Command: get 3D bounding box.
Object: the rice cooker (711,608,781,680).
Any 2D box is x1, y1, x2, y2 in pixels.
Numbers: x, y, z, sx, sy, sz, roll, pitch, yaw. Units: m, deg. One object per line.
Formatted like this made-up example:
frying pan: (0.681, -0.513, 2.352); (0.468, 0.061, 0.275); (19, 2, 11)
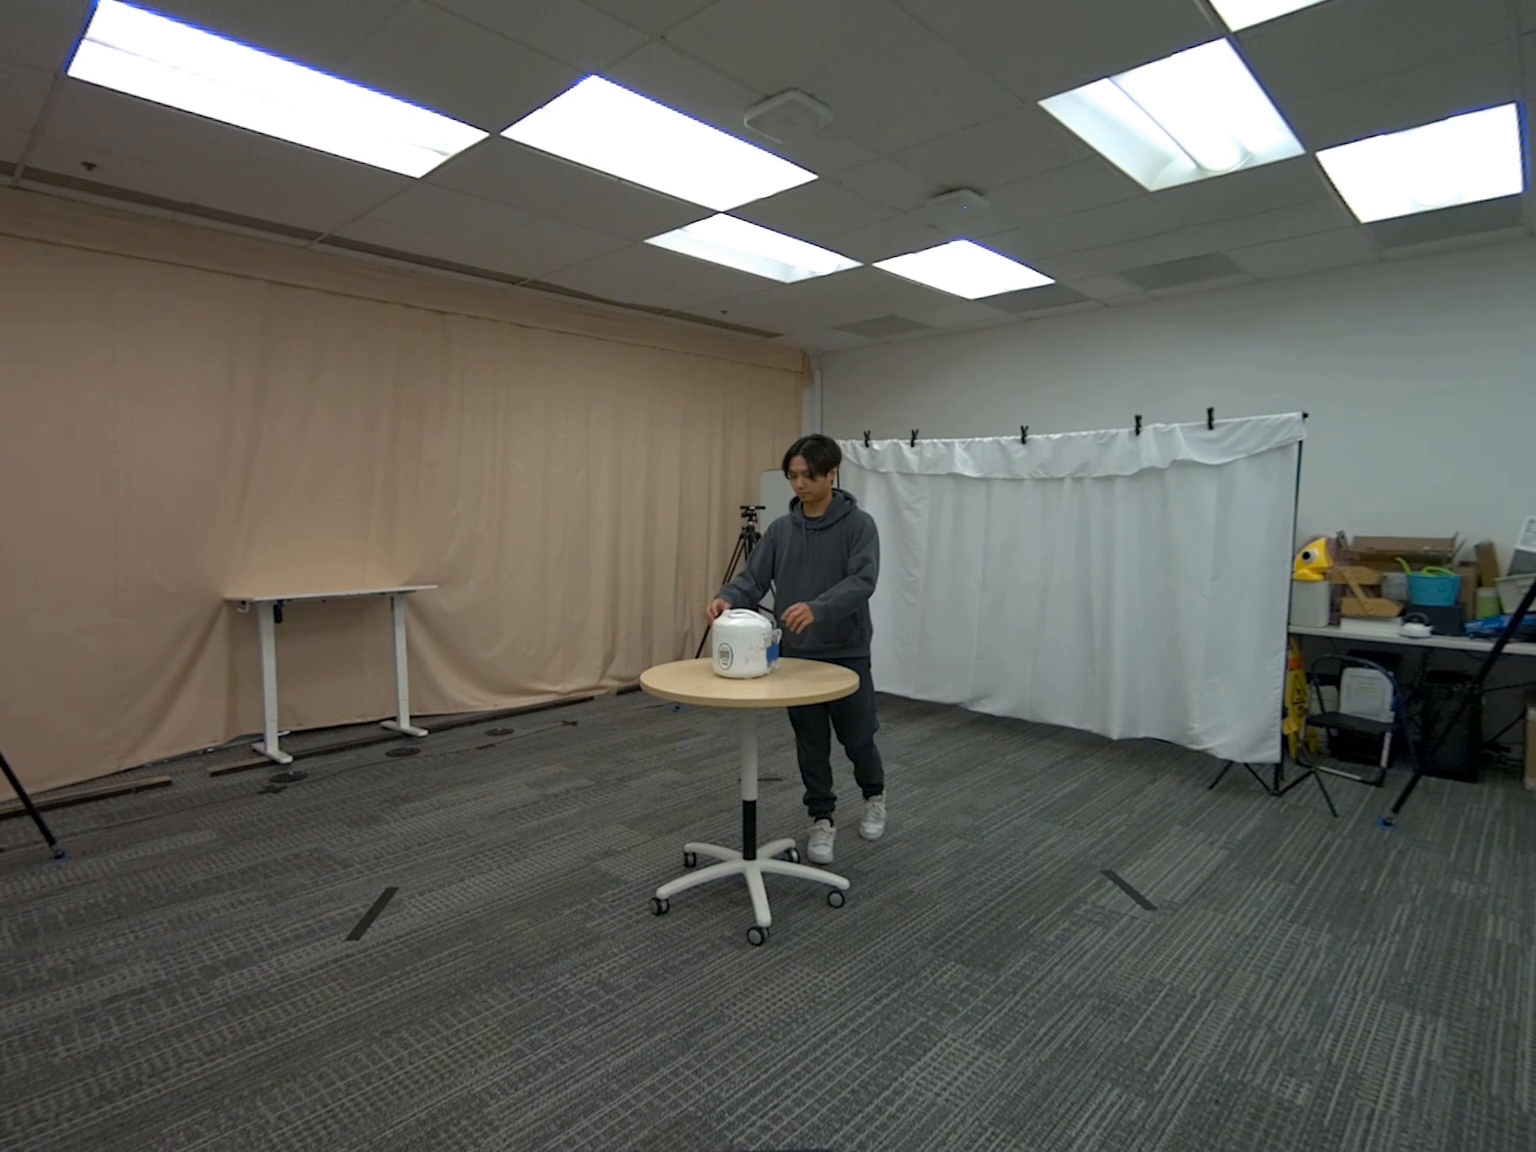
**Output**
rice cooker: (-0.088, 0.231, 2.967); (0.227, 0.233, 0.211); (0, 0, 32)
